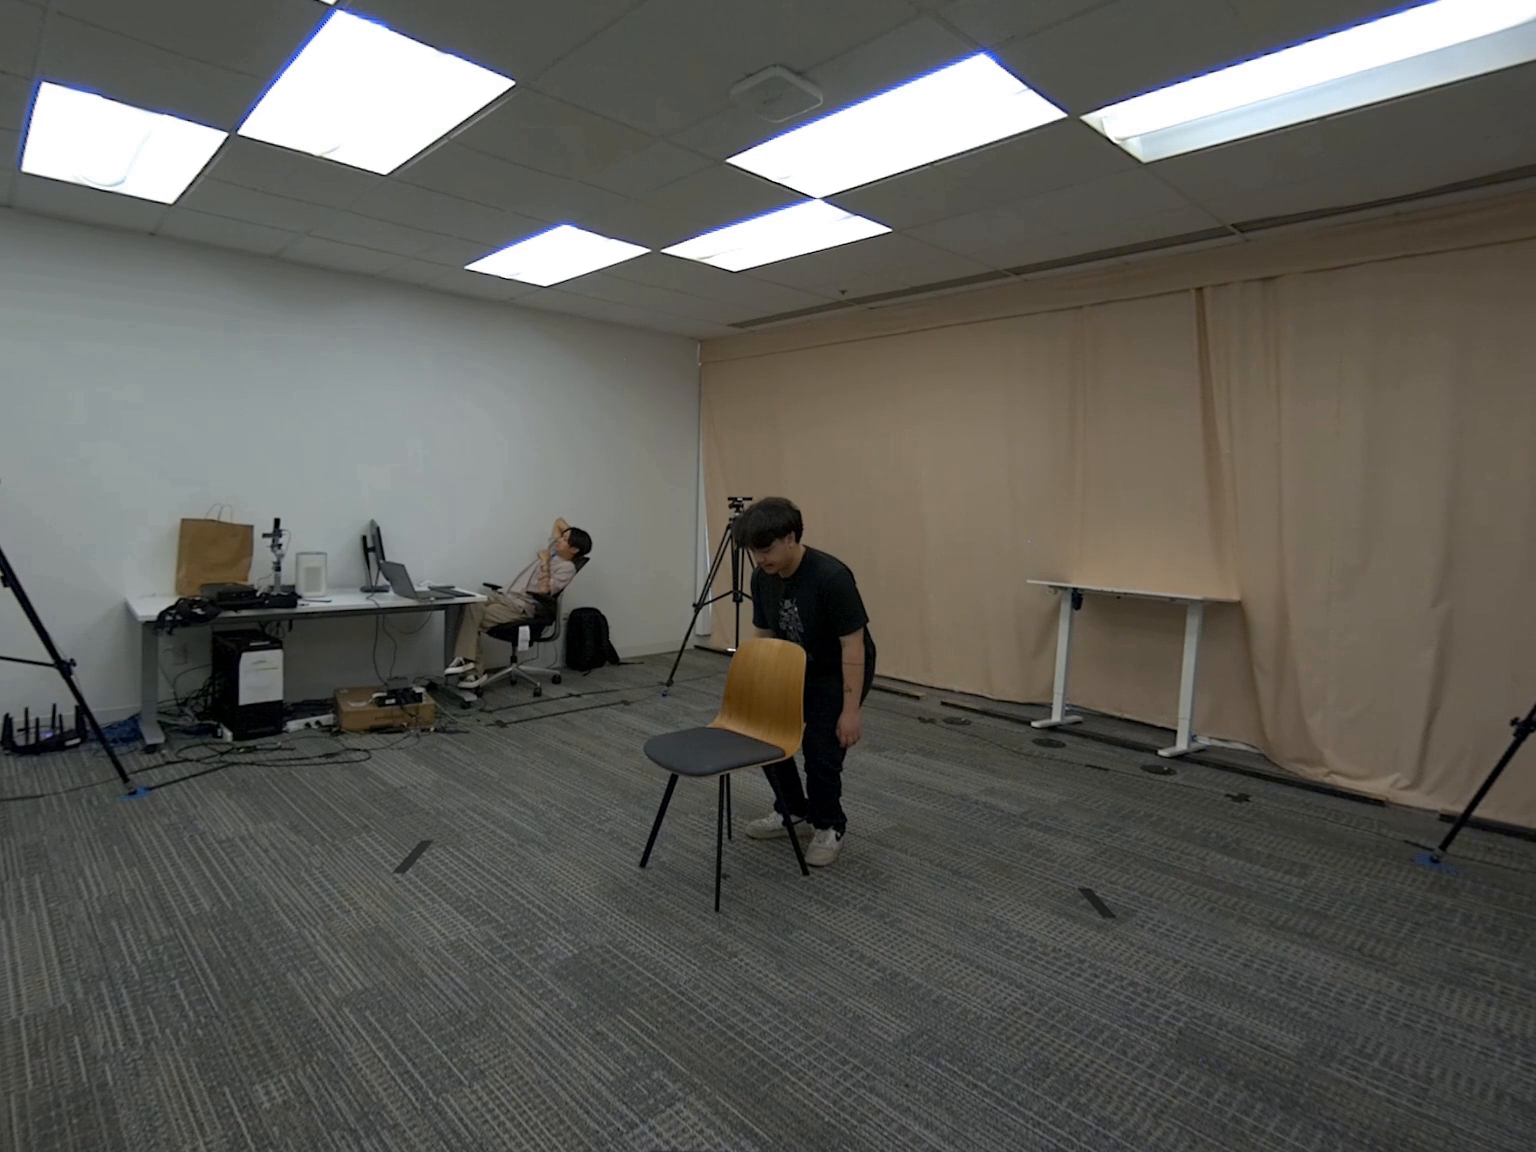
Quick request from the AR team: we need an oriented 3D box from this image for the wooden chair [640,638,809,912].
[{"bbox_3d":[-0.166,0.681,3.105,0.510,0.877,0.490,4,1,-43],"label":"wooden chair"}]
